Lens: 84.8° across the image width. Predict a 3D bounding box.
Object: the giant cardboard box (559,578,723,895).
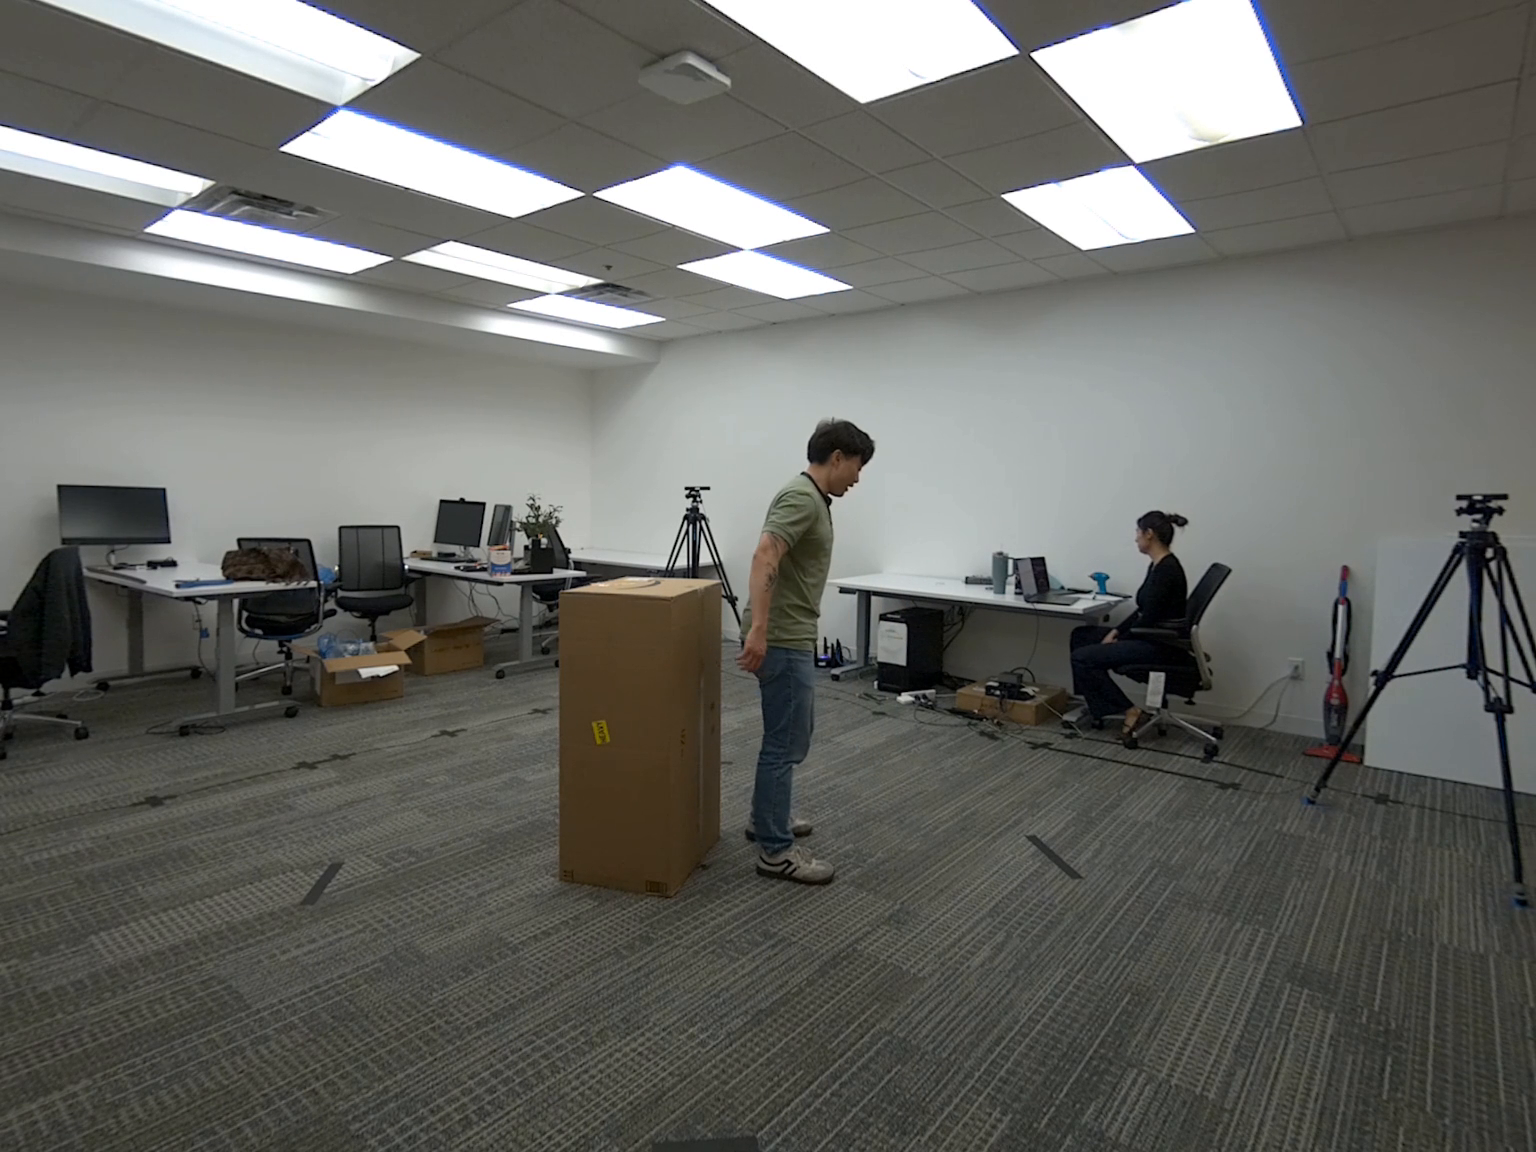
[{"bbox_3d":[-0.472,0.544,3.174,0.434,1.024,0.568,1,3,17],"label":"giant cardboard box"}]
